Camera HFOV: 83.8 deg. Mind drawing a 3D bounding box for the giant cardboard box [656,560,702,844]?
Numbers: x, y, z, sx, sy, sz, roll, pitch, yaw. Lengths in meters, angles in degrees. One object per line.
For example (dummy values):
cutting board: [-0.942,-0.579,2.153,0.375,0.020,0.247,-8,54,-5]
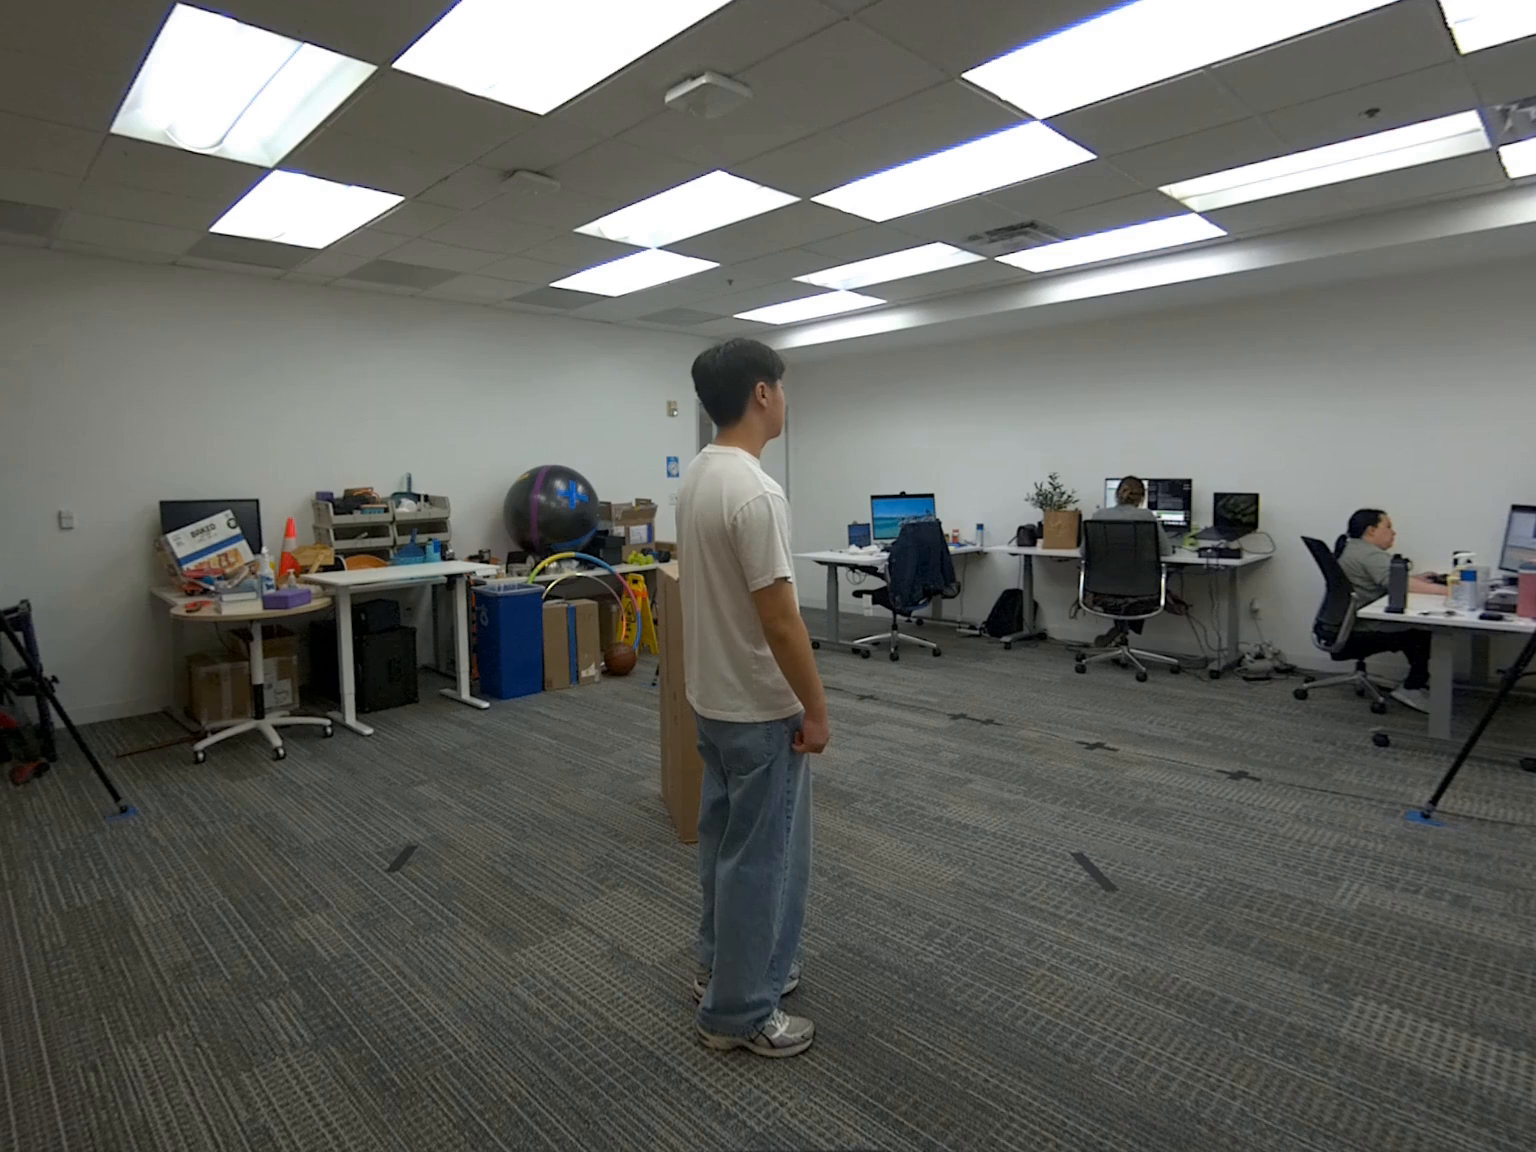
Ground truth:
giant cardboard box: [-0.202,0.487,3.567,0.420,1.023,0.587,-2,4,-16]
